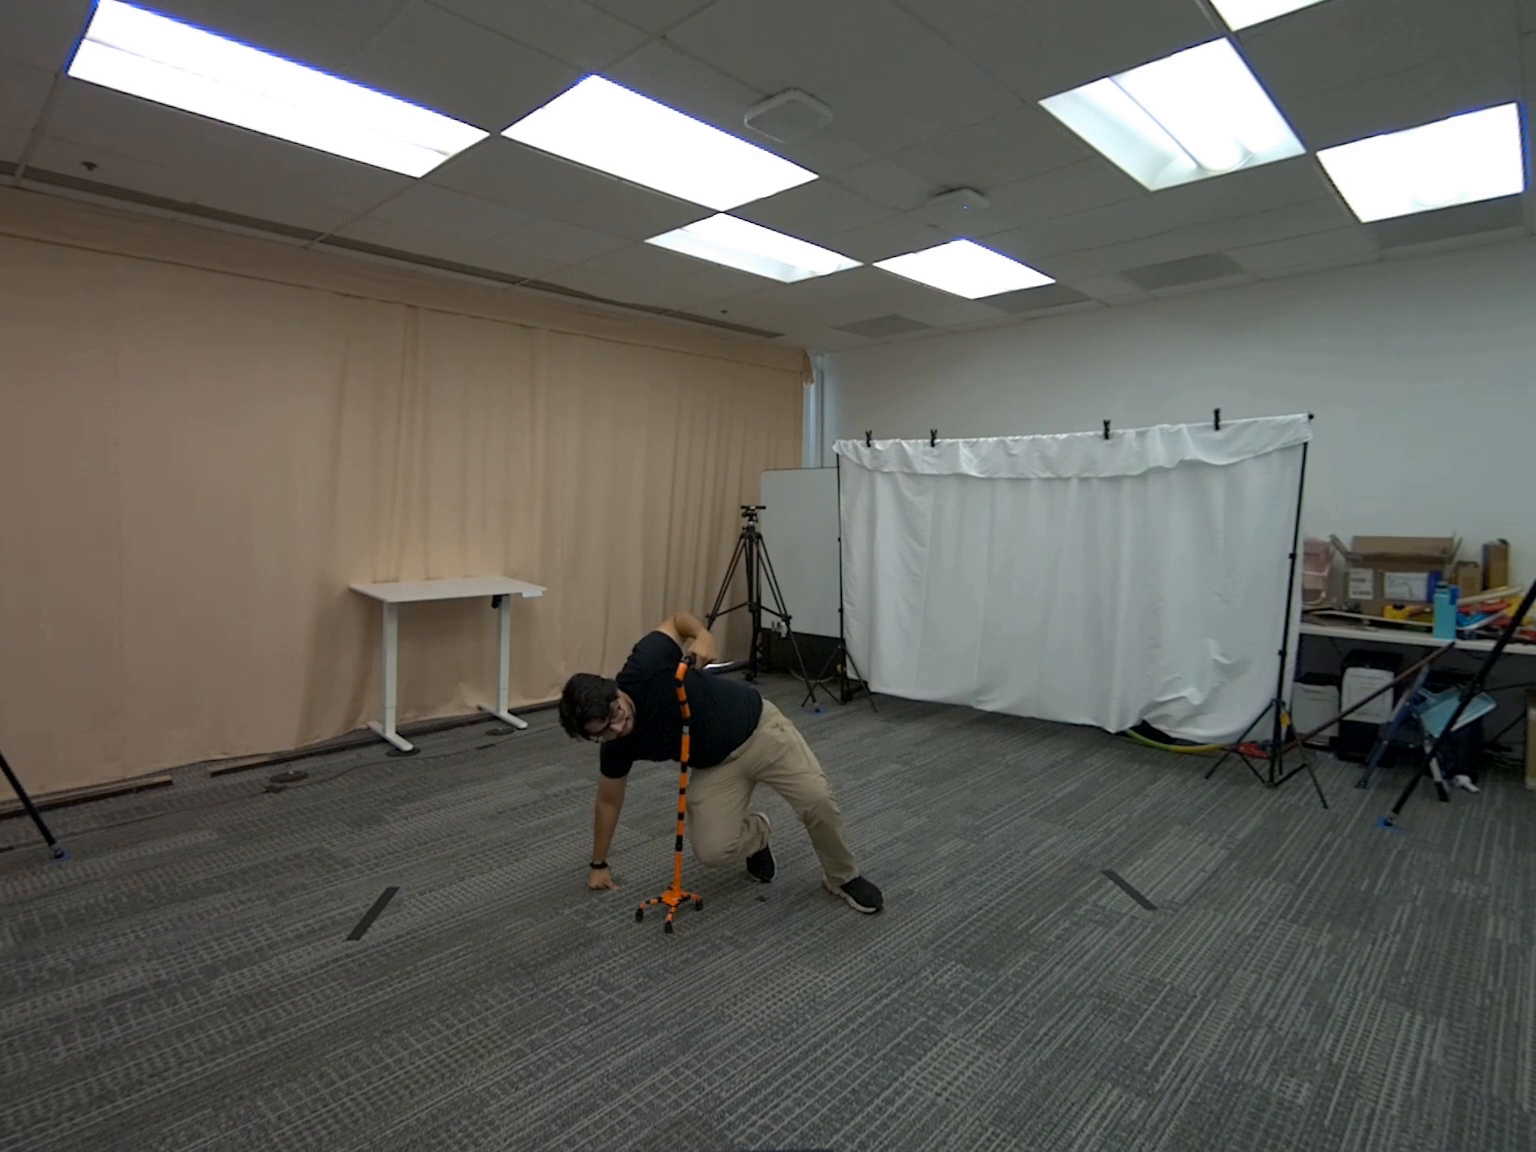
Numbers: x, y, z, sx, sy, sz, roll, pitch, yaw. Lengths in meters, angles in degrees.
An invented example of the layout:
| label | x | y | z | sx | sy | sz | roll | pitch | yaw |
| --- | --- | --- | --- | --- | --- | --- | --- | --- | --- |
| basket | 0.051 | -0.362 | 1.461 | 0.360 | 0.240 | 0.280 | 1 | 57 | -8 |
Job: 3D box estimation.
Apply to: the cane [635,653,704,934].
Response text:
| label | x | y | z | sx | sy | sz | roll | pitch | yaw |
| --- | --- | --- | --- | --- | --- | --- | --- | --- | --- |
| cane | -0.299 | 0.713 | 2.783 | 0.156 | 0.903 | 0.201 | 11 | 12 | 32 |
